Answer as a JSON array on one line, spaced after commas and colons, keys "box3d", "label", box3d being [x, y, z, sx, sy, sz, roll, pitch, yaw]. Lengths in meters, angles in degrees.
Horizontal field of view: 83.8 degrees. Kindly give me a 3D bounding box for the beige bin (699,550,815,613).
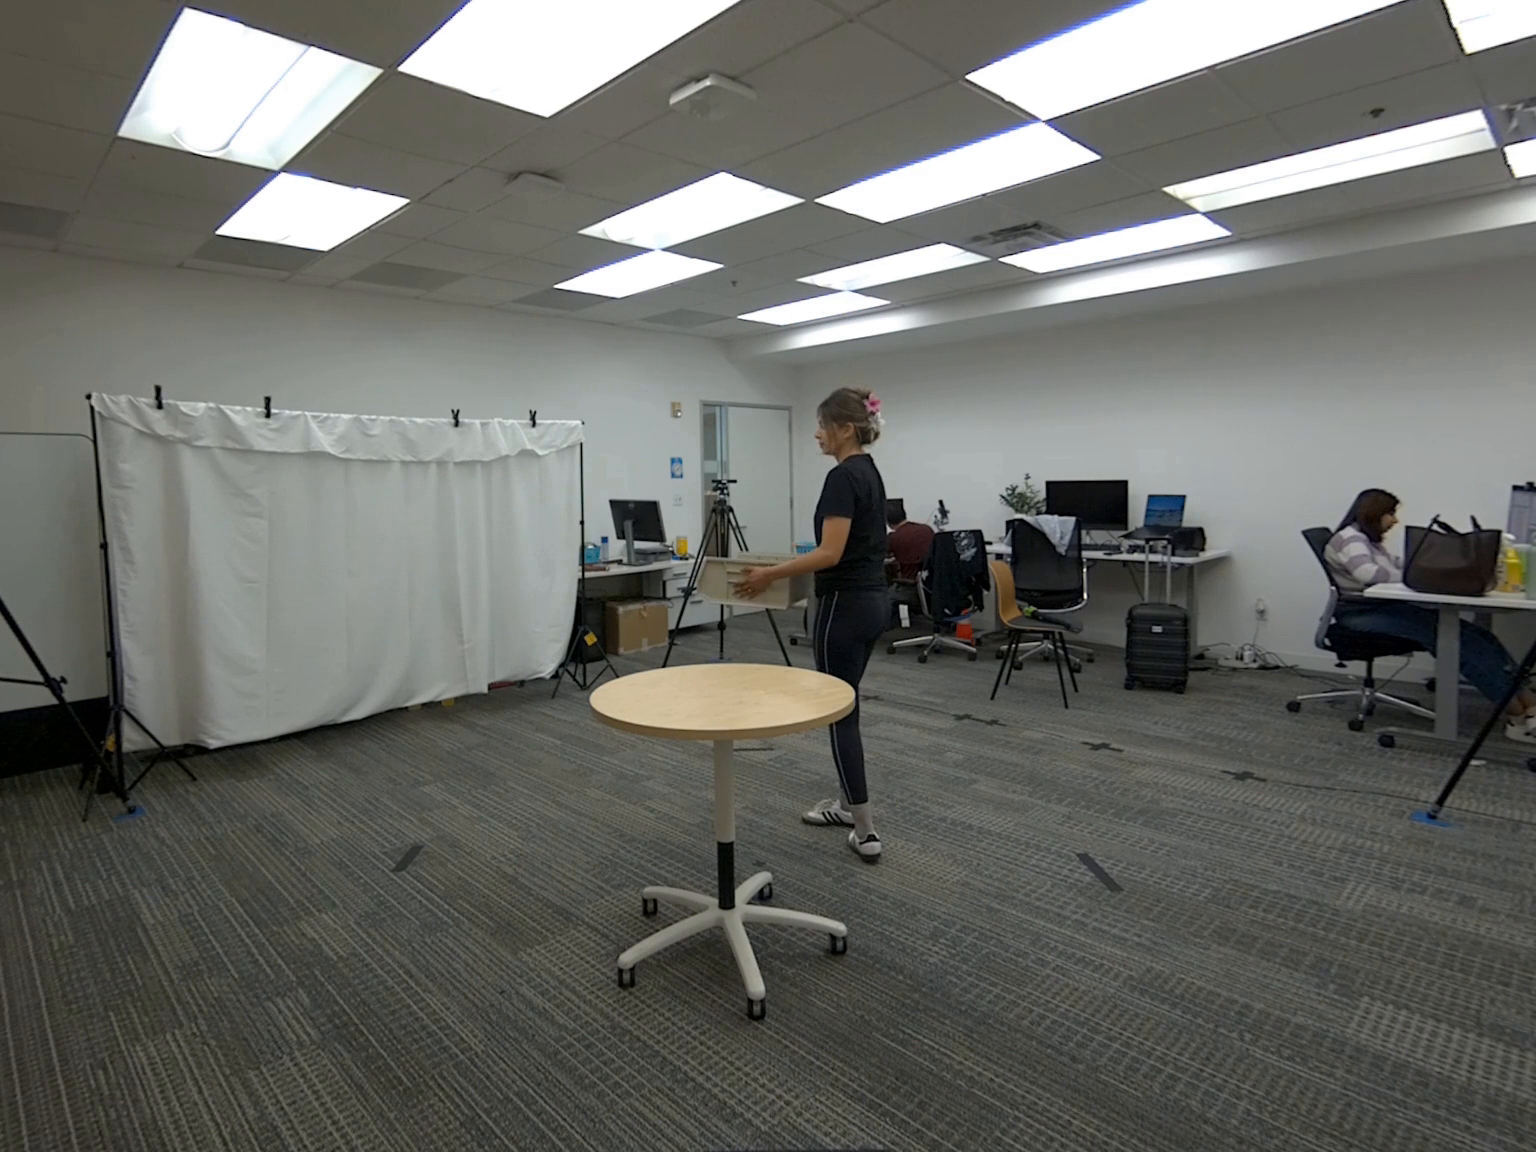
[{"box3d": [-0.020, 0.011, 3.436, 0.384, 0.188, 0.416, 4, 5, 18], "label": "beige bin"}]
